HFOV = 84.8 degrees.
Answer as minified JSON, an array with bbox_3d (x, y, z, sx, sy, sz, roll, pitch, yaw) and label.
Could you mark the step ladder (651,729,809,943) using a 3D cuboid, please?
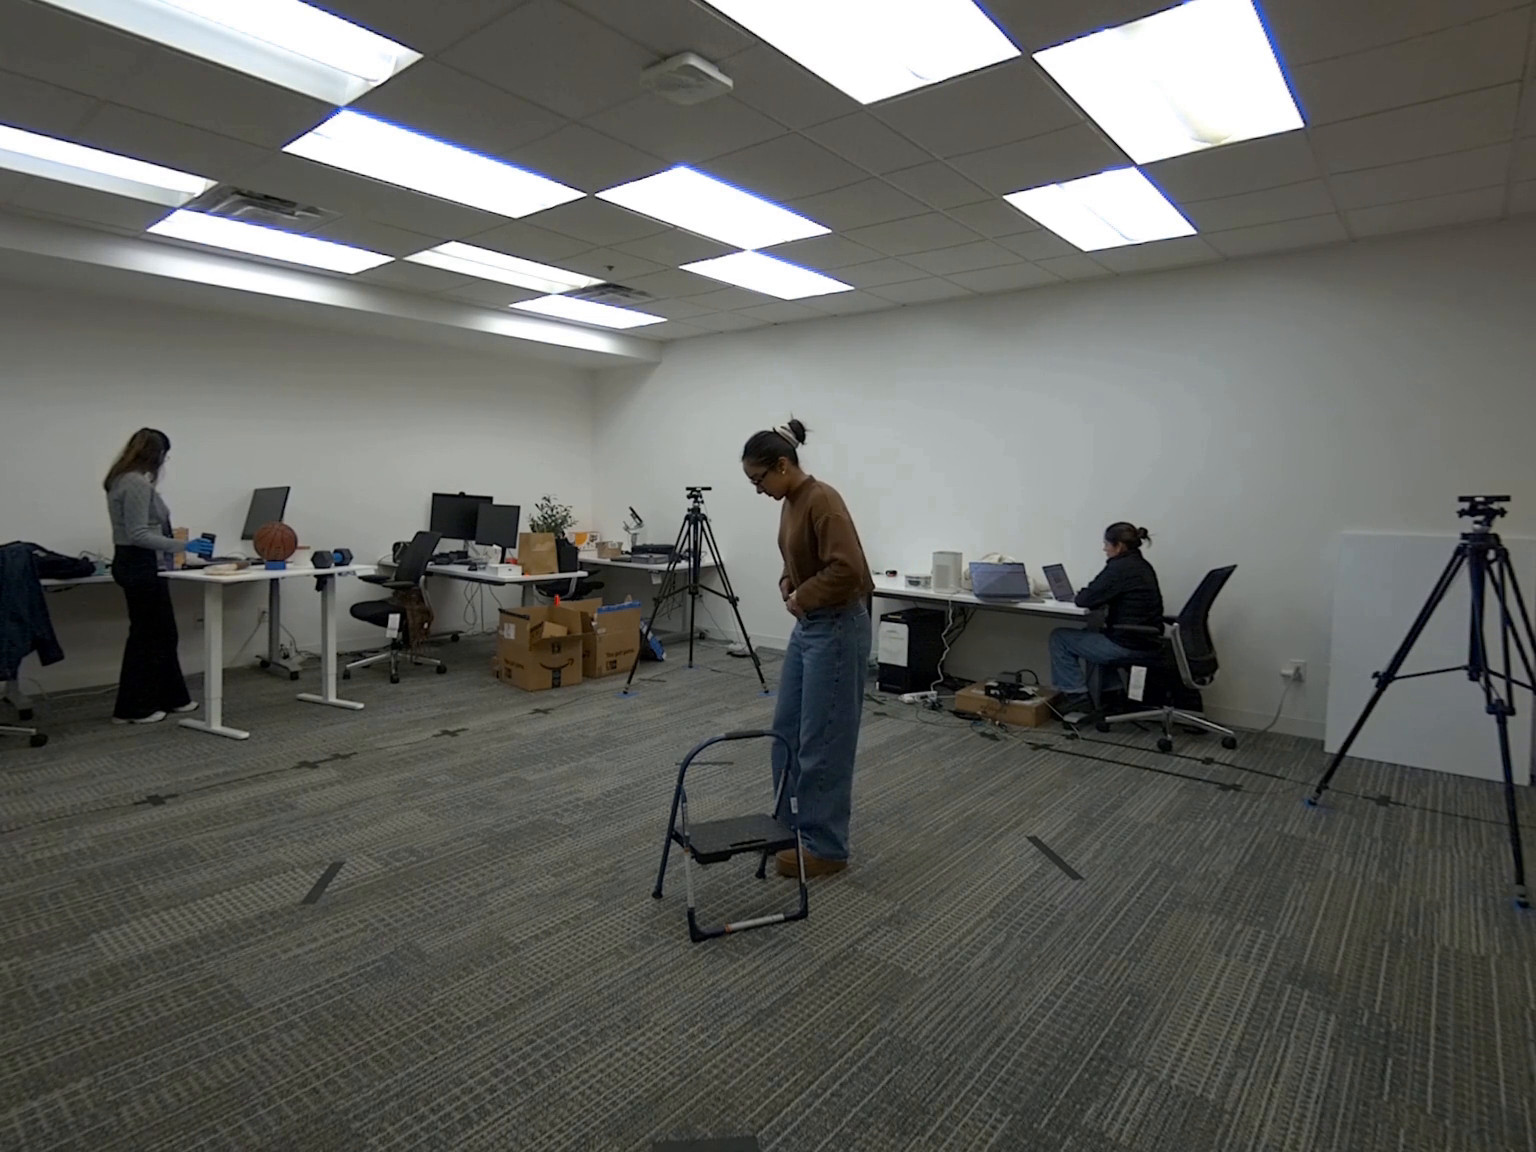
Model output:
[{"bbox_3d":[-0.134,0.794,2.812,0.420,0.604,0.359,-1,3,-27],"label":"step ladder"}]
